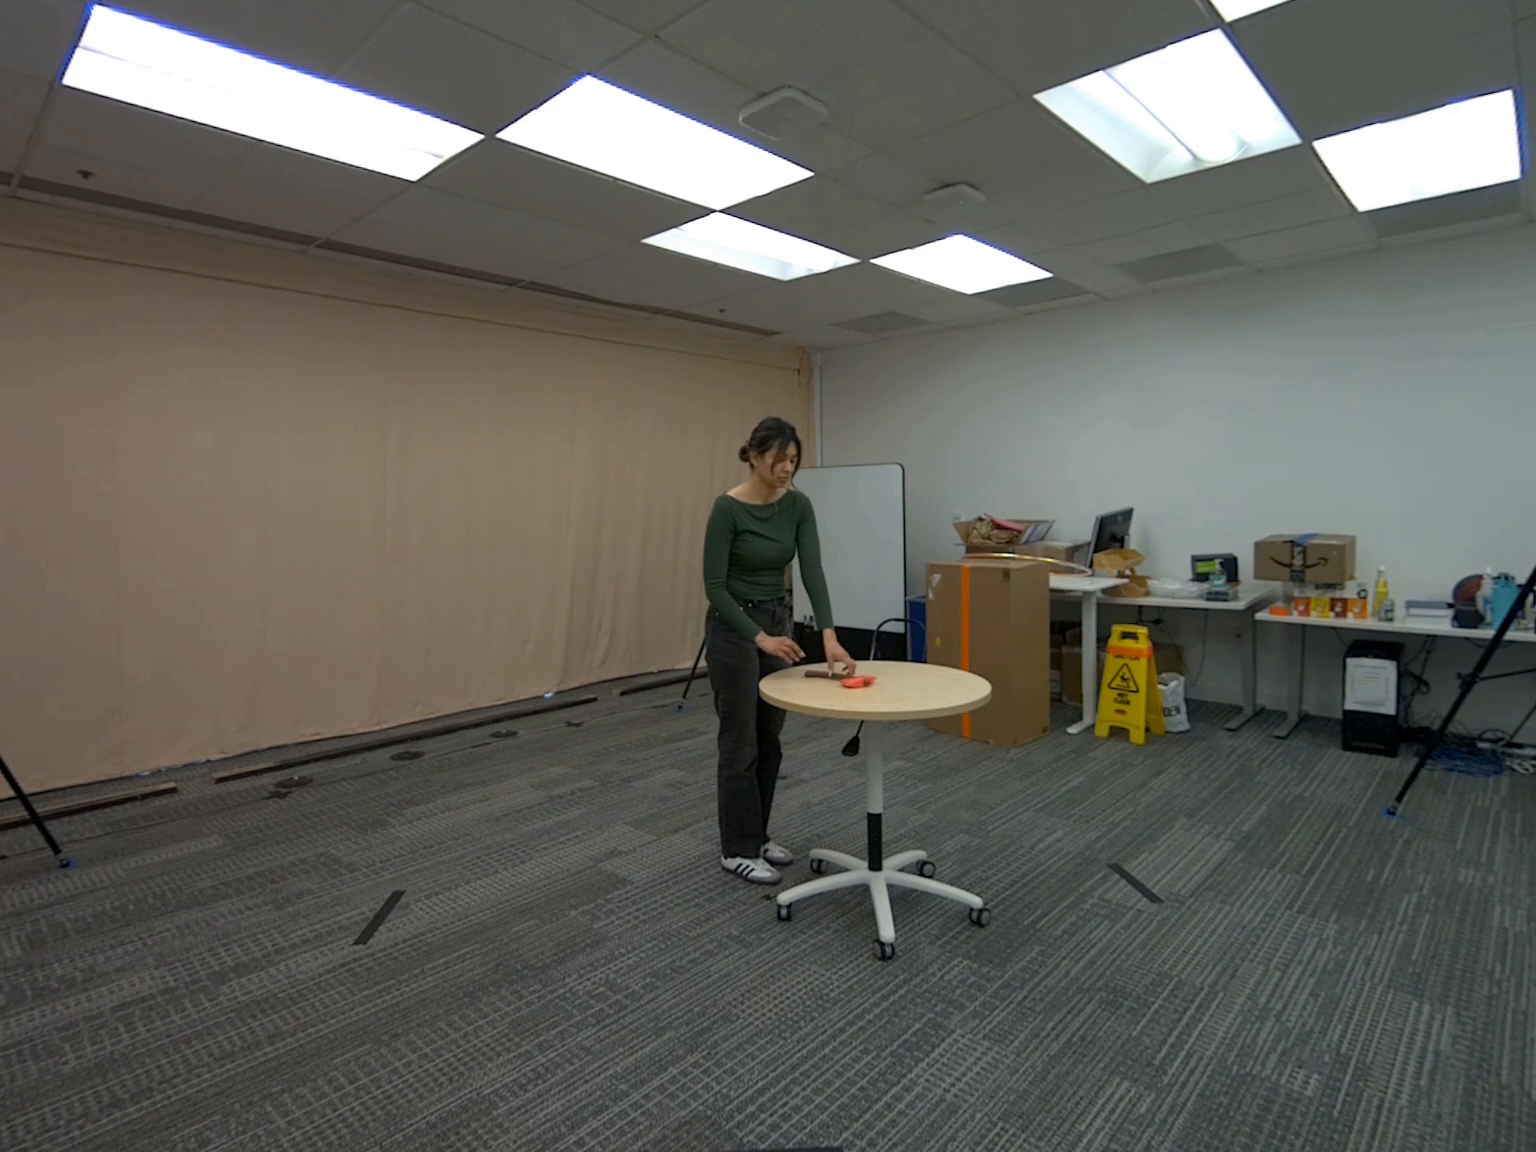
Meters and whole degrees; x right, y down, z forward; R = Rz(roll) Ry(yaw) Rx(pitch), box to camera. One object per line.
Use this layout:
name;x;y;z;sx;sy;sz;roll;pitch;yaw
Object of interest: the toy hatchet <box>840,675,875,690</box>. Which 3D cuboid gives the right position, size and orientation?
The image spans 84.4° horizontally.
toy hatchet;0.229;0.350;2.874;0.278;0.029;0.127;0;6;34
